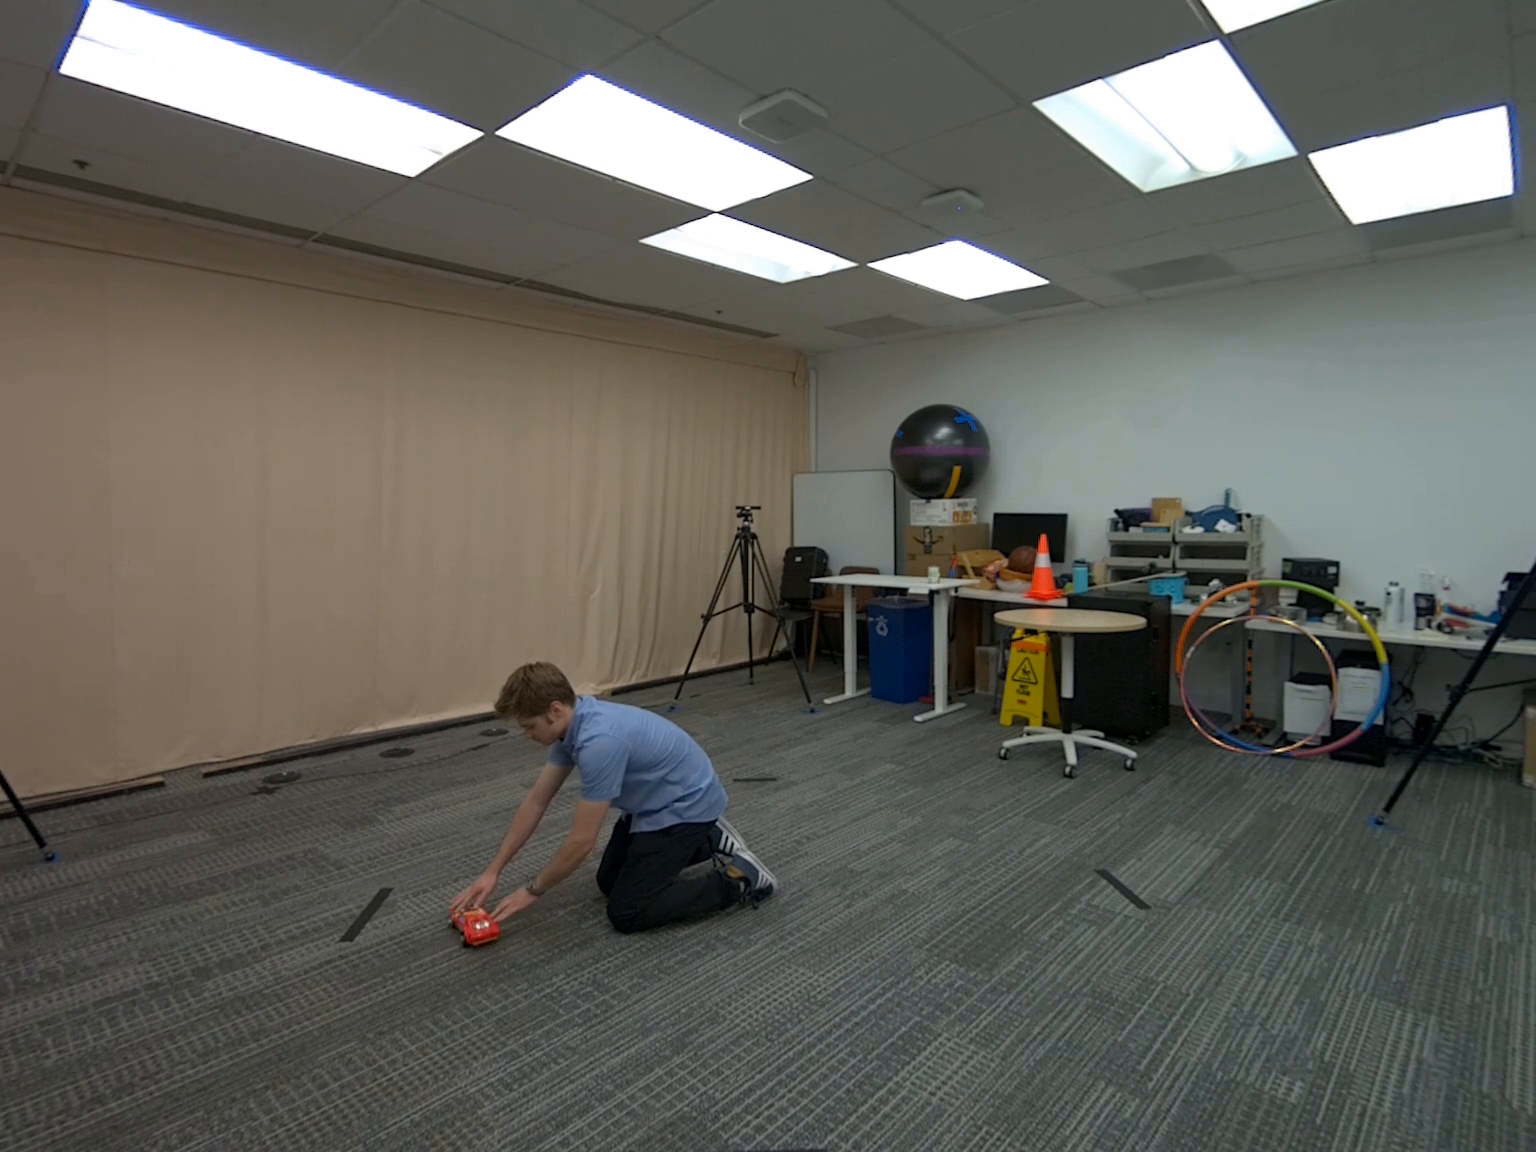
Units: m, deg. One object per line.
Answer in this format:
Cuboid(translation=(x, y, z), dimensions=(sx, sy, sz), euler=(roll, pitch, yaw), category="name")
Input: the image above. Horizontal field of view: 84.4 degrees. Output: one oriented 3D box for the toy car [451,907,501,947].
Cuboid(translation=(-0.950, 1.142, 2.752), dimensions=(0.126, 0.084, 0.260), euler=(-3, -8, -35), category="toy car")
